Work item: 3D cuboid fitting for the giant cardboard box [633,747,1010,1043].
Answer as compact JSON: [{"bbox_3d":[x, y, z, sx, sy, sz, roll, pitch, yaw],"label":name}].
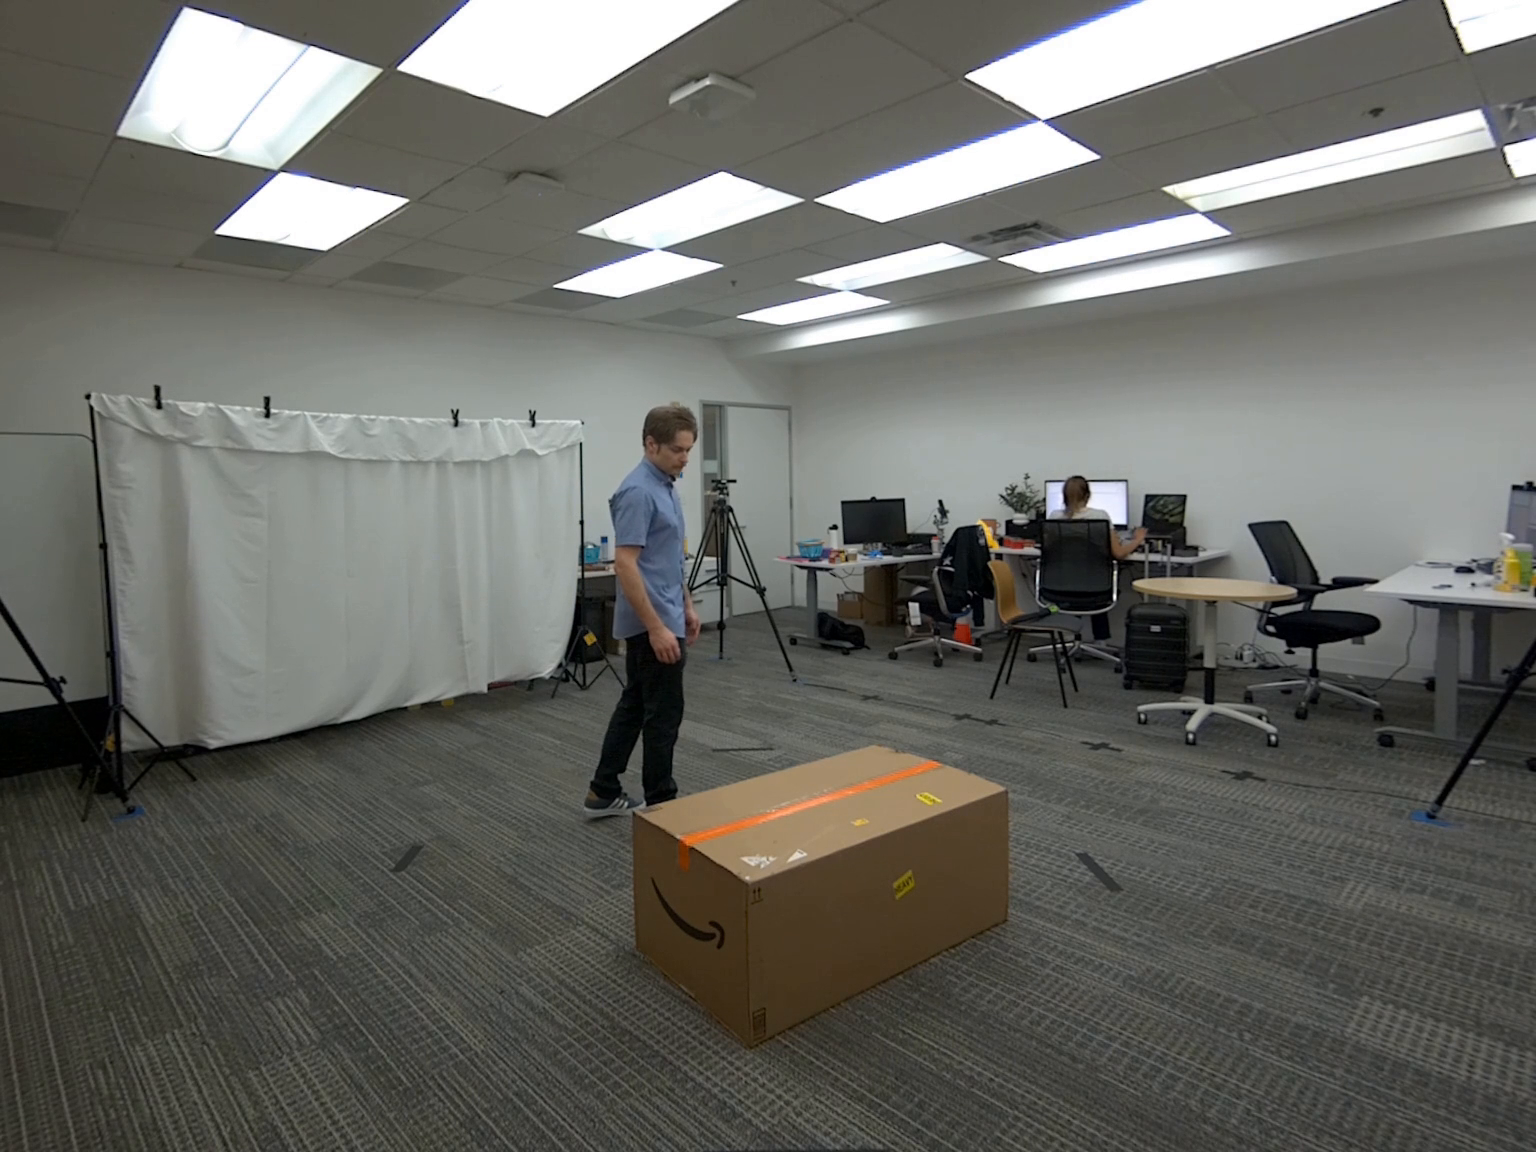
[{"bbox_3d":[0.179,0.888,2.611,1.002,0.445,0.601,-7,7,-36],"label":"giant cardboard box"}]
